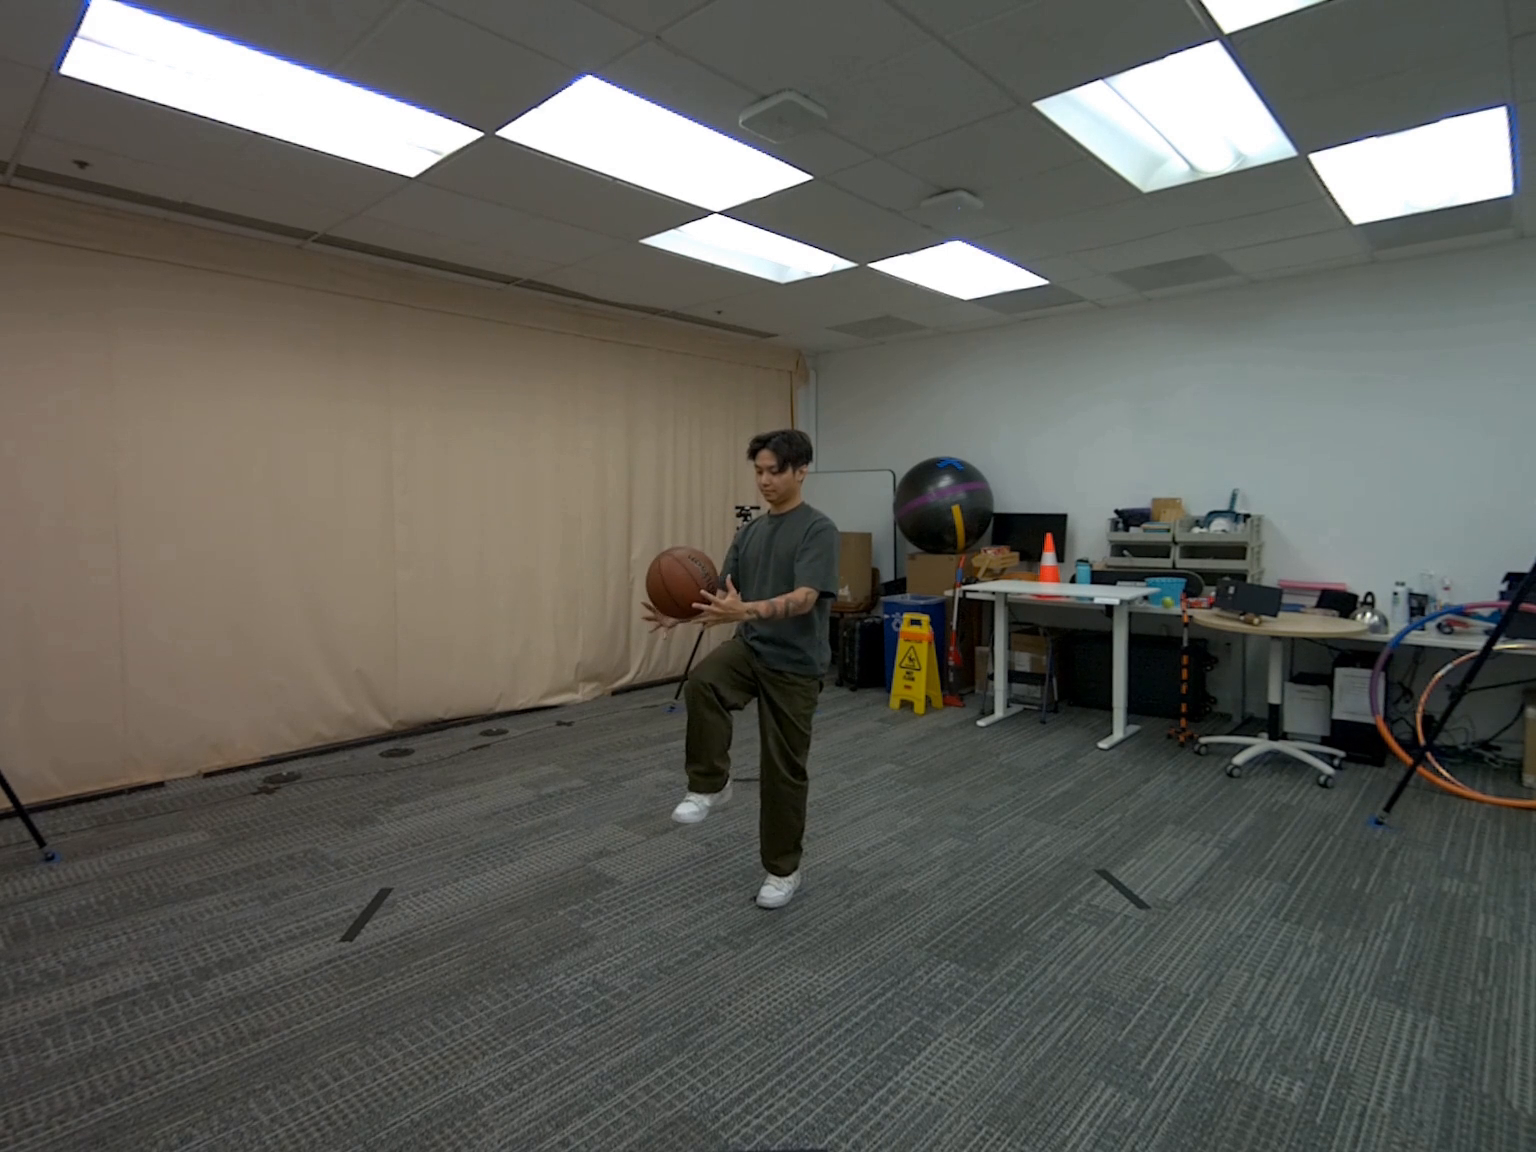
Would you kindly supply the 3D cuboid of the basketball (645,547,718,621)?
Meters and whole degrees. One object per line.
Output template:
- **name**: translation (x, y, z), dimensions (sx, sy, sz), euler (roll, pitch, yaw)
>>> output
- **basketball**: translation (-0.280, 0.042, 2.756), dimensions (0.236, 0.235, 0.237), euler (0, 4, -2)
